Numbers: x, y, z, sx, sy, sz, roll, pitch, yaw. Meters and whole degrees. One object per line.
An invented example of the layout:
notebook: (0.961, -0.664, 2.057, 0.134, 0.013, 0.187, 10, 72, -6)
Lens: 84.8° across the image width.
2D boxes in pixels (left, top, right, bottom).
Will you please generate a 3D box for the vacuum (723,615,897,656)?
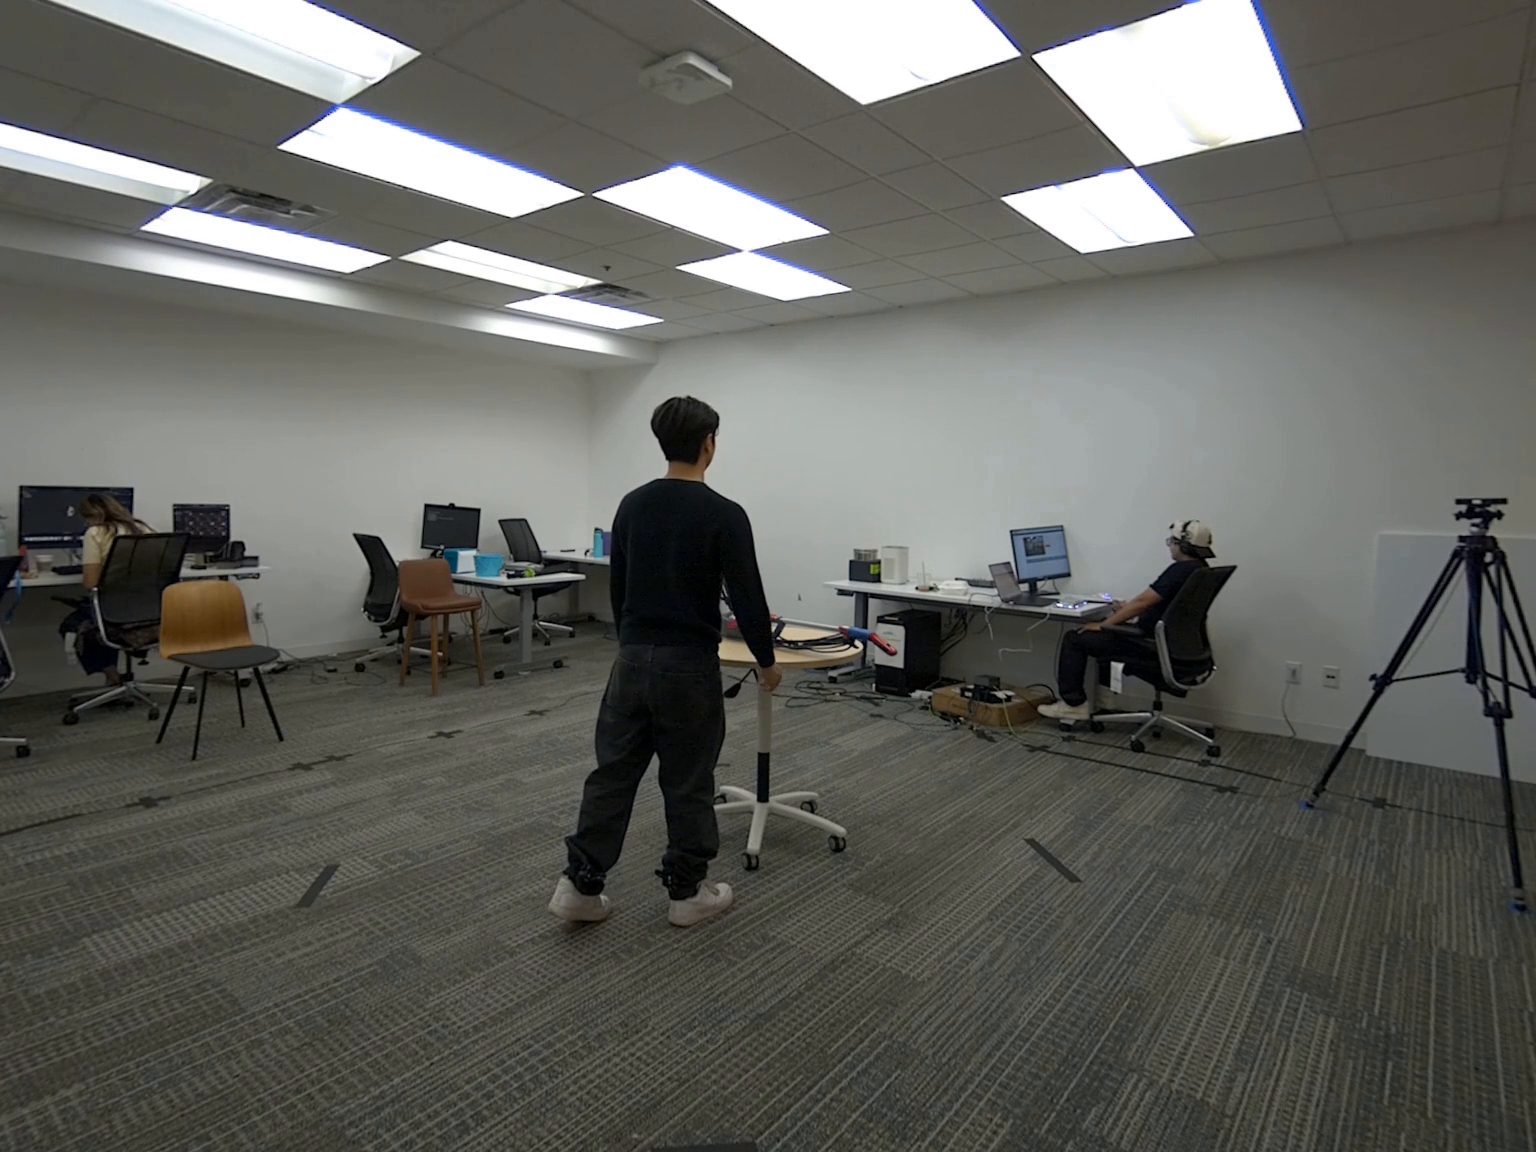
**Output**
vacuum: (0.041, 0.220, 3.263, 0.245, 0.143, 1.086, -1, 5, -42)
